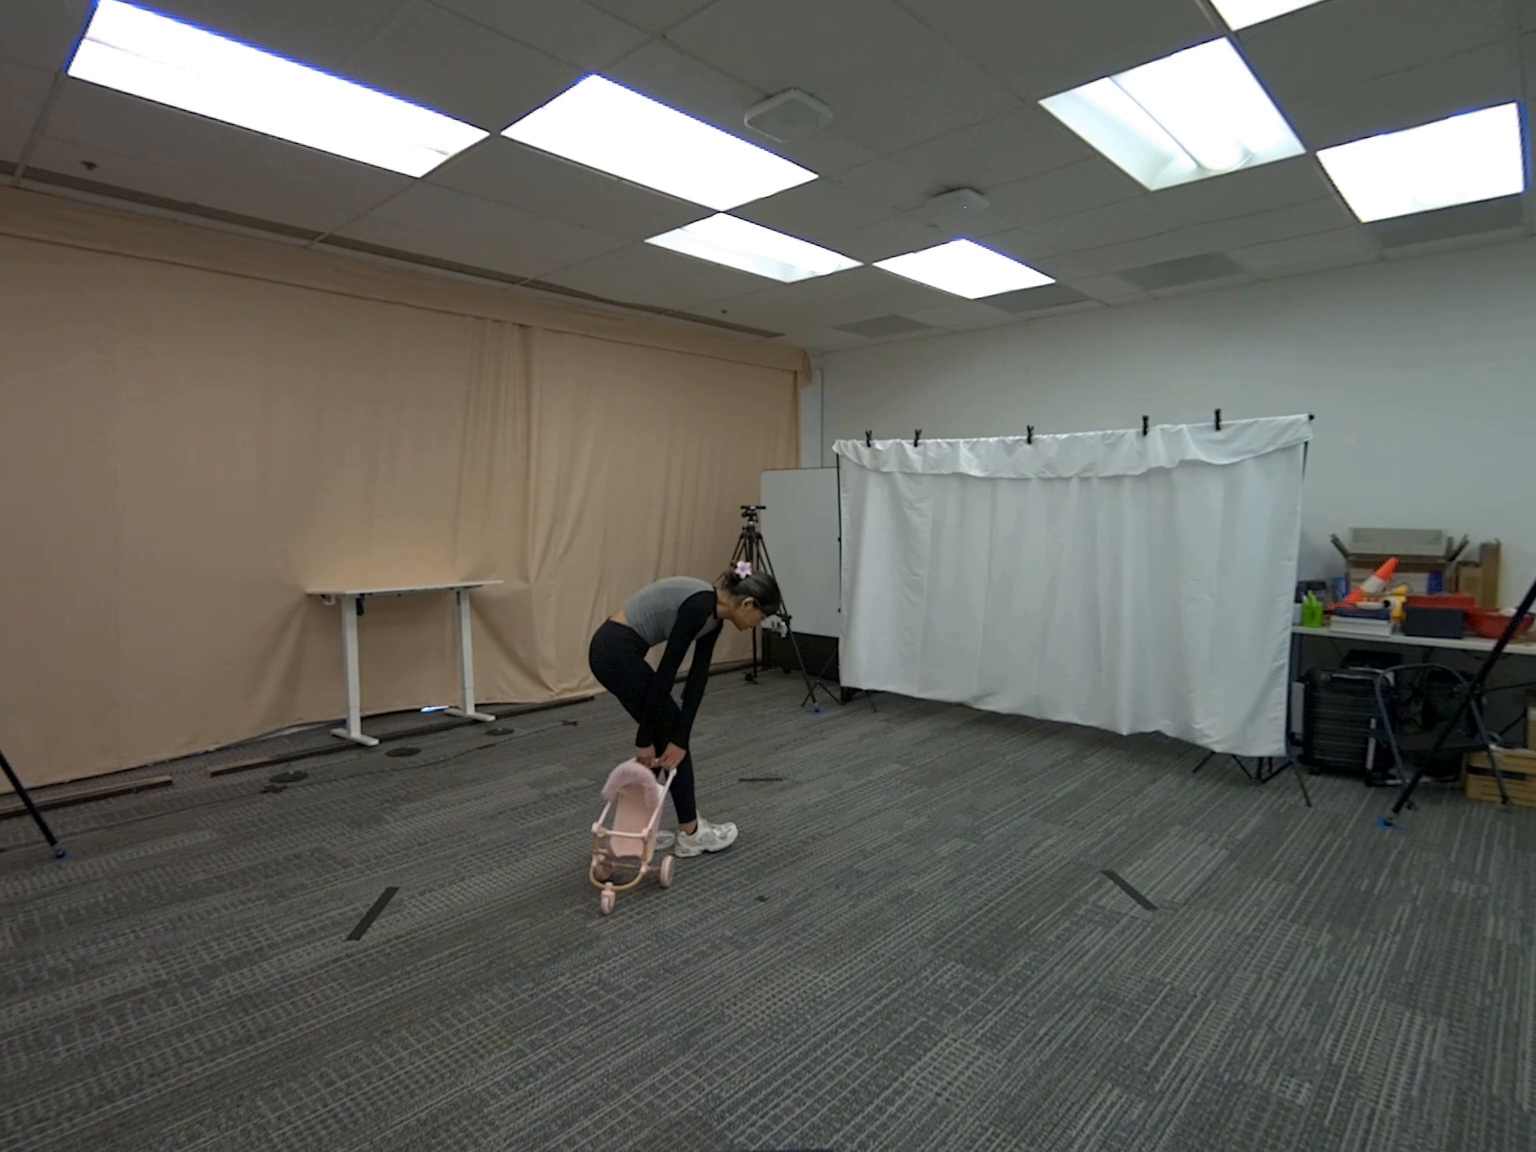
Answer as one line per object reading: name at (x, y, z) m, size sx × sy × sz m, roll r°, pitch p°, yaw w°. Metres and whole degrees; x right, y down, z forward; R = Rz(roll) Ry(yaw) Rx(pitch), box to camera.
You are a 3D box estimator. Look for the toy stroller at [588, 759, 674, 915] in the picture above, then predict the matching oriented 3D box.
toy stroller at (-0.506, 0.917, 3.055) m, size 0.287 × 0.538 × 0.332 m, roll 1°, pitch -14°, yaw 19°
